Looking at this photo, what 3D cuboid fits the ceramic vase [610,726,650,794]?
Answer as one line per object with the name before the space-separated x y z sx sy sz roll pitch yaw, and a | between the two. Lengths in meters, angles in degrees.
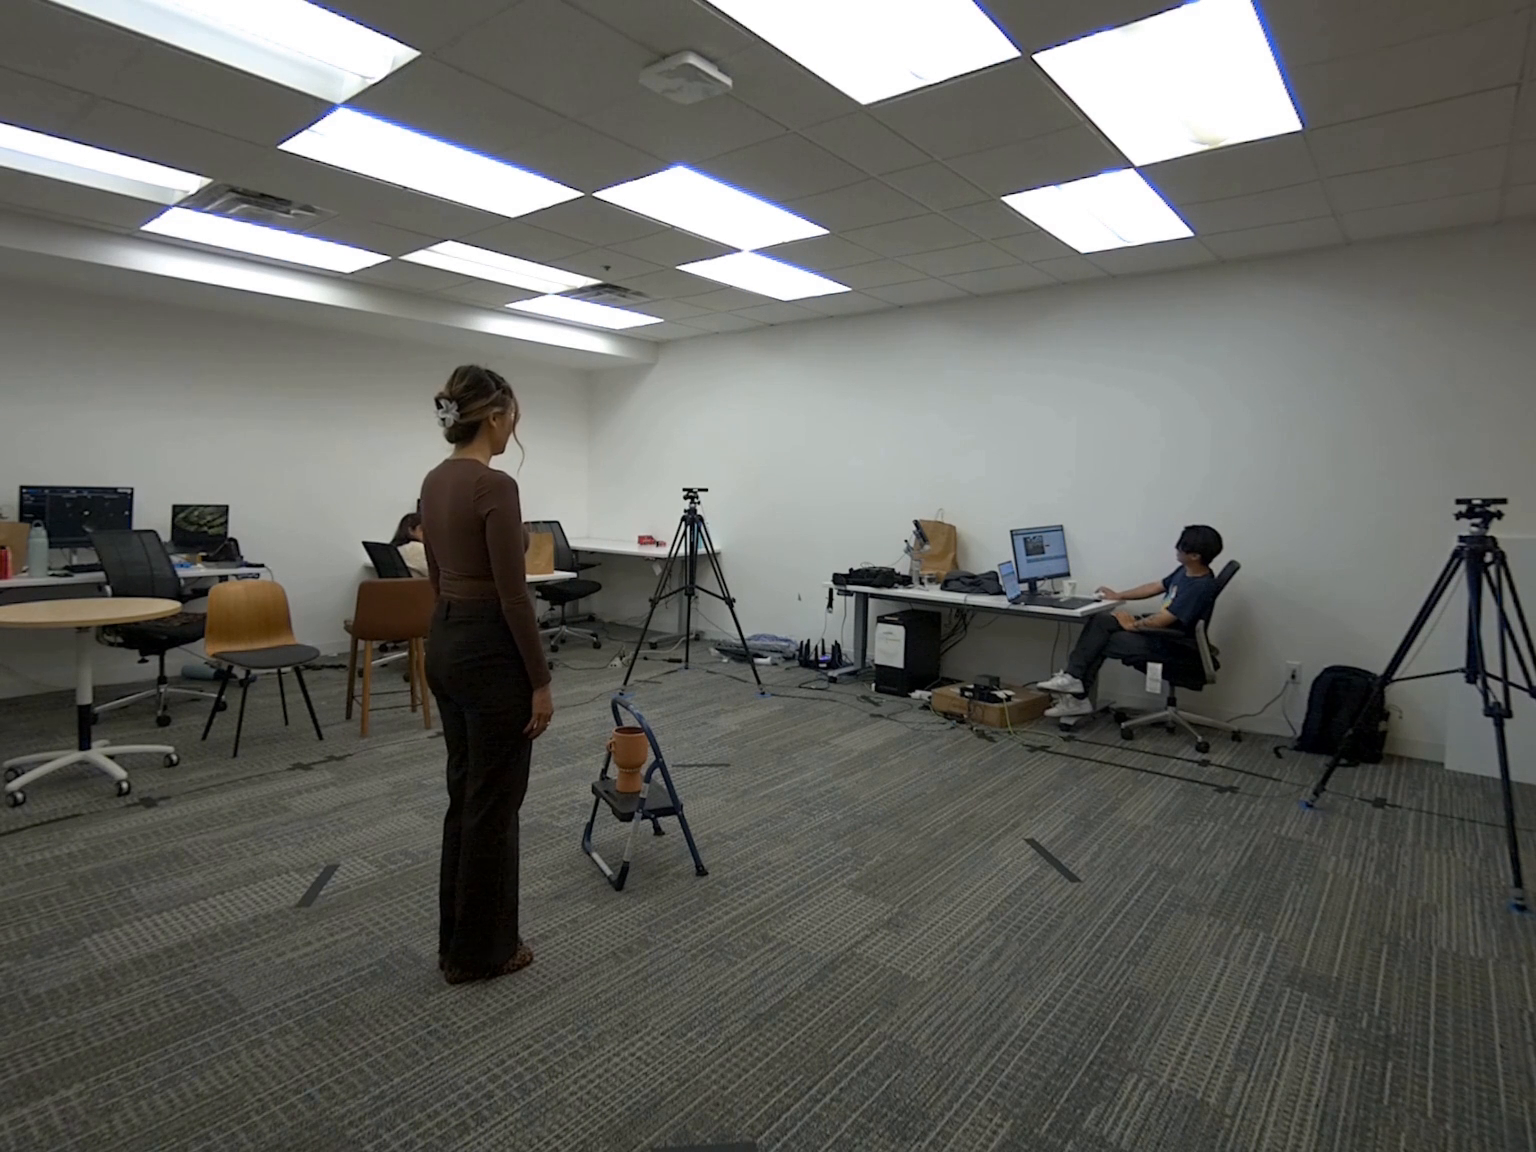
ceramic vase | -0.529 0.680 3.186 0.159 0.219 0.134 2 2 2
